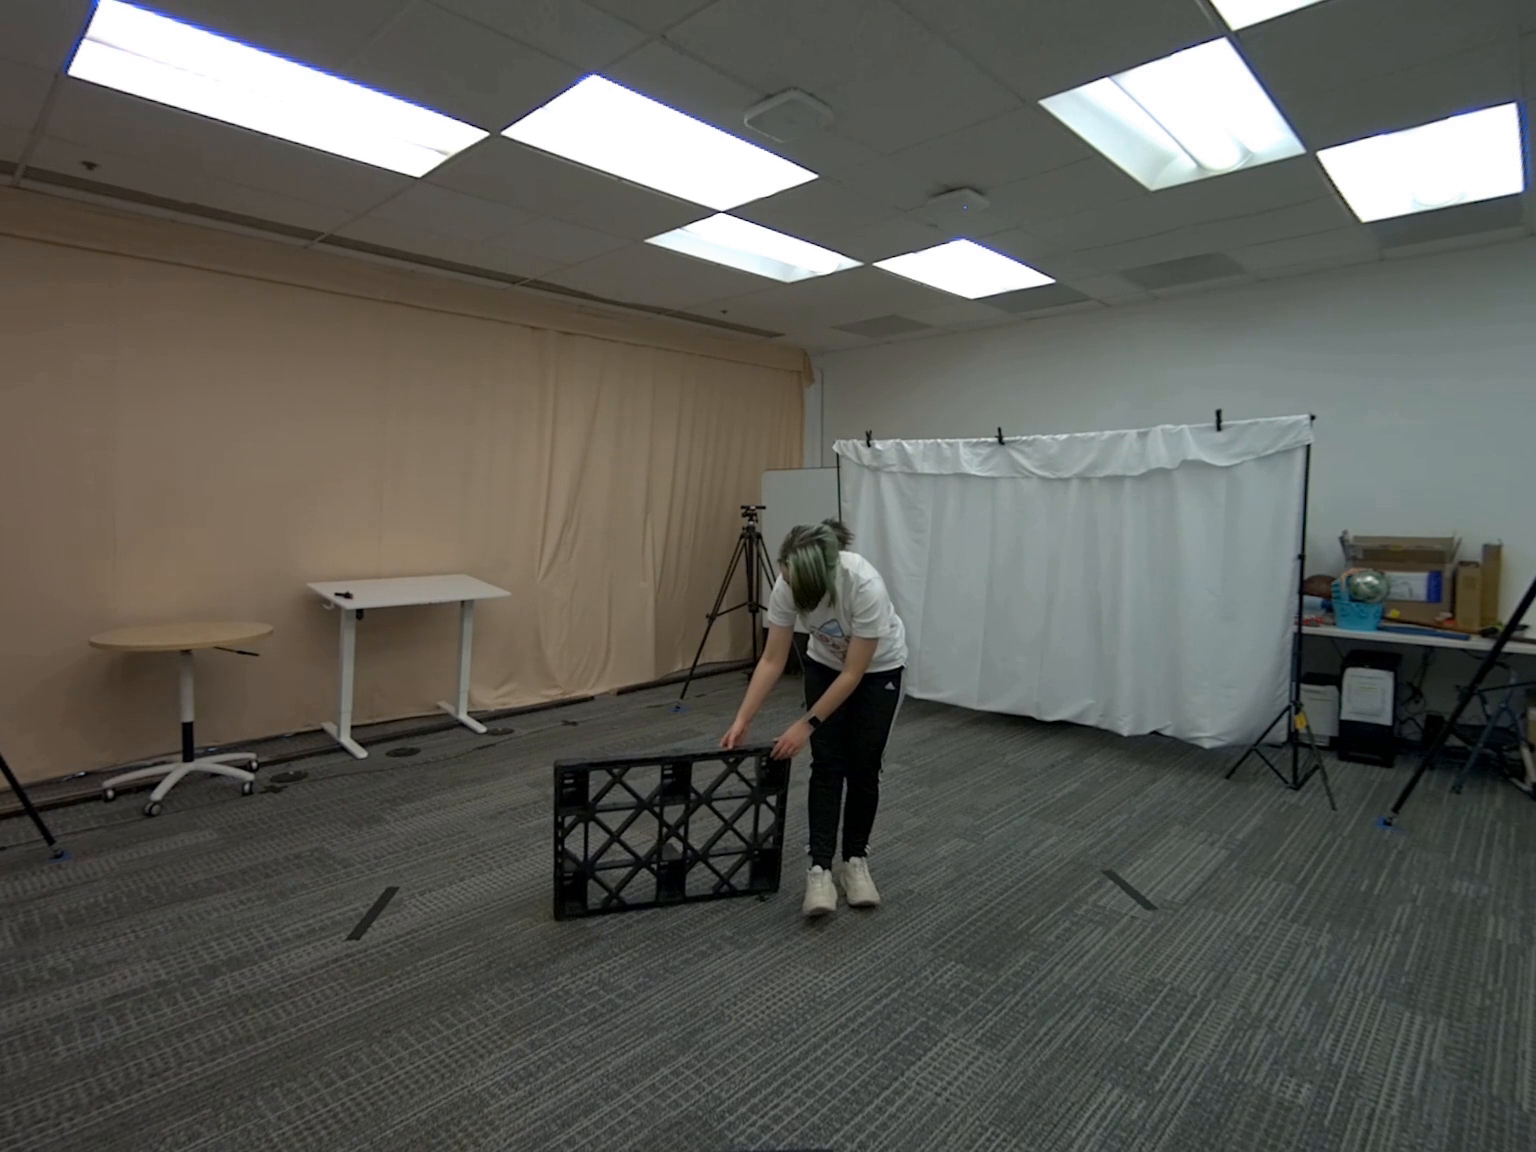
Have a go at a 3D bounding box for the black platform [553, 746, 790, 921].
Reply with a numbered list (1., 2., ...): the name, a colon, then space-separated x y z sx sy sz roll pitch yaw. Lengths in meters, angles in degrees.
1. black platform: -0.346 0.841 2.882 0.794 0.599 0.147 -1 17 -14
